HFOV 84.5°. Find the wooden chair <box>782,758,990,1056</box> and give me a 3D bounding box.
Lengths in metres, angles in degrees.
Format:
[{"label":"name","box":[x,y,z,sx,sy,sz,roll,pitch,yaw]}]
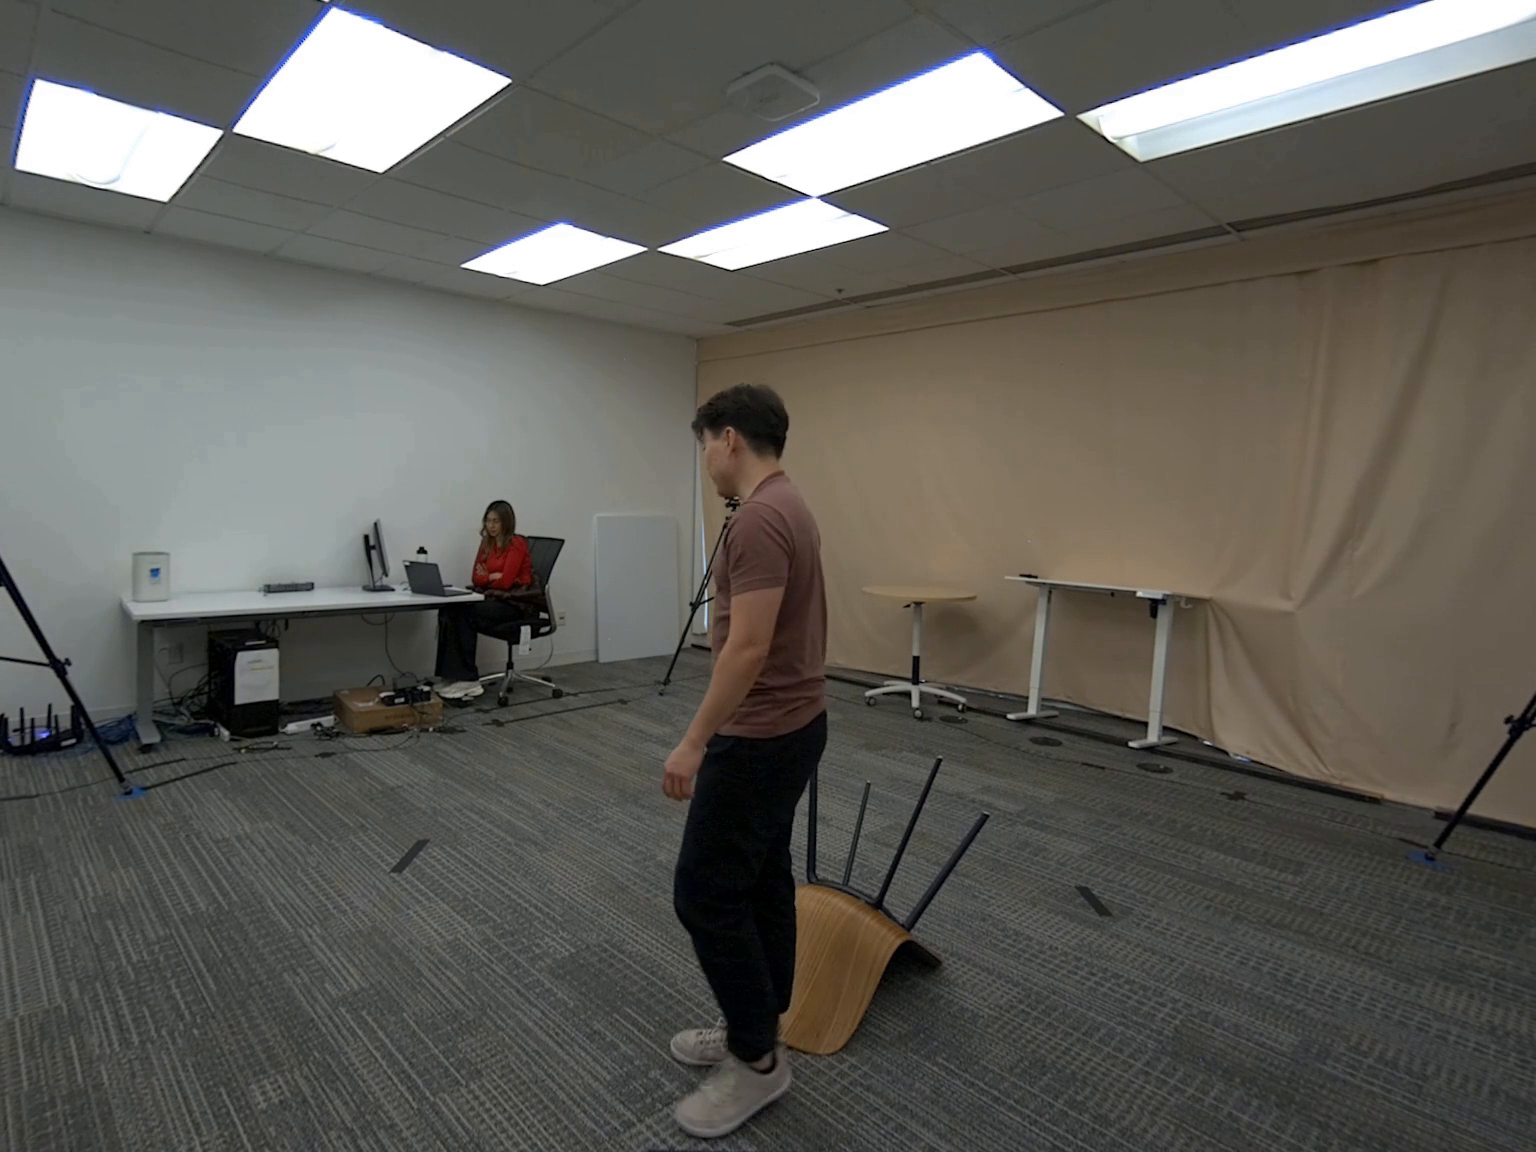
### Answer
[{"label":"wooden chair","box":[0.270,0.997,2.537,0.490,0.883,0.507,5,-35,37]}]
